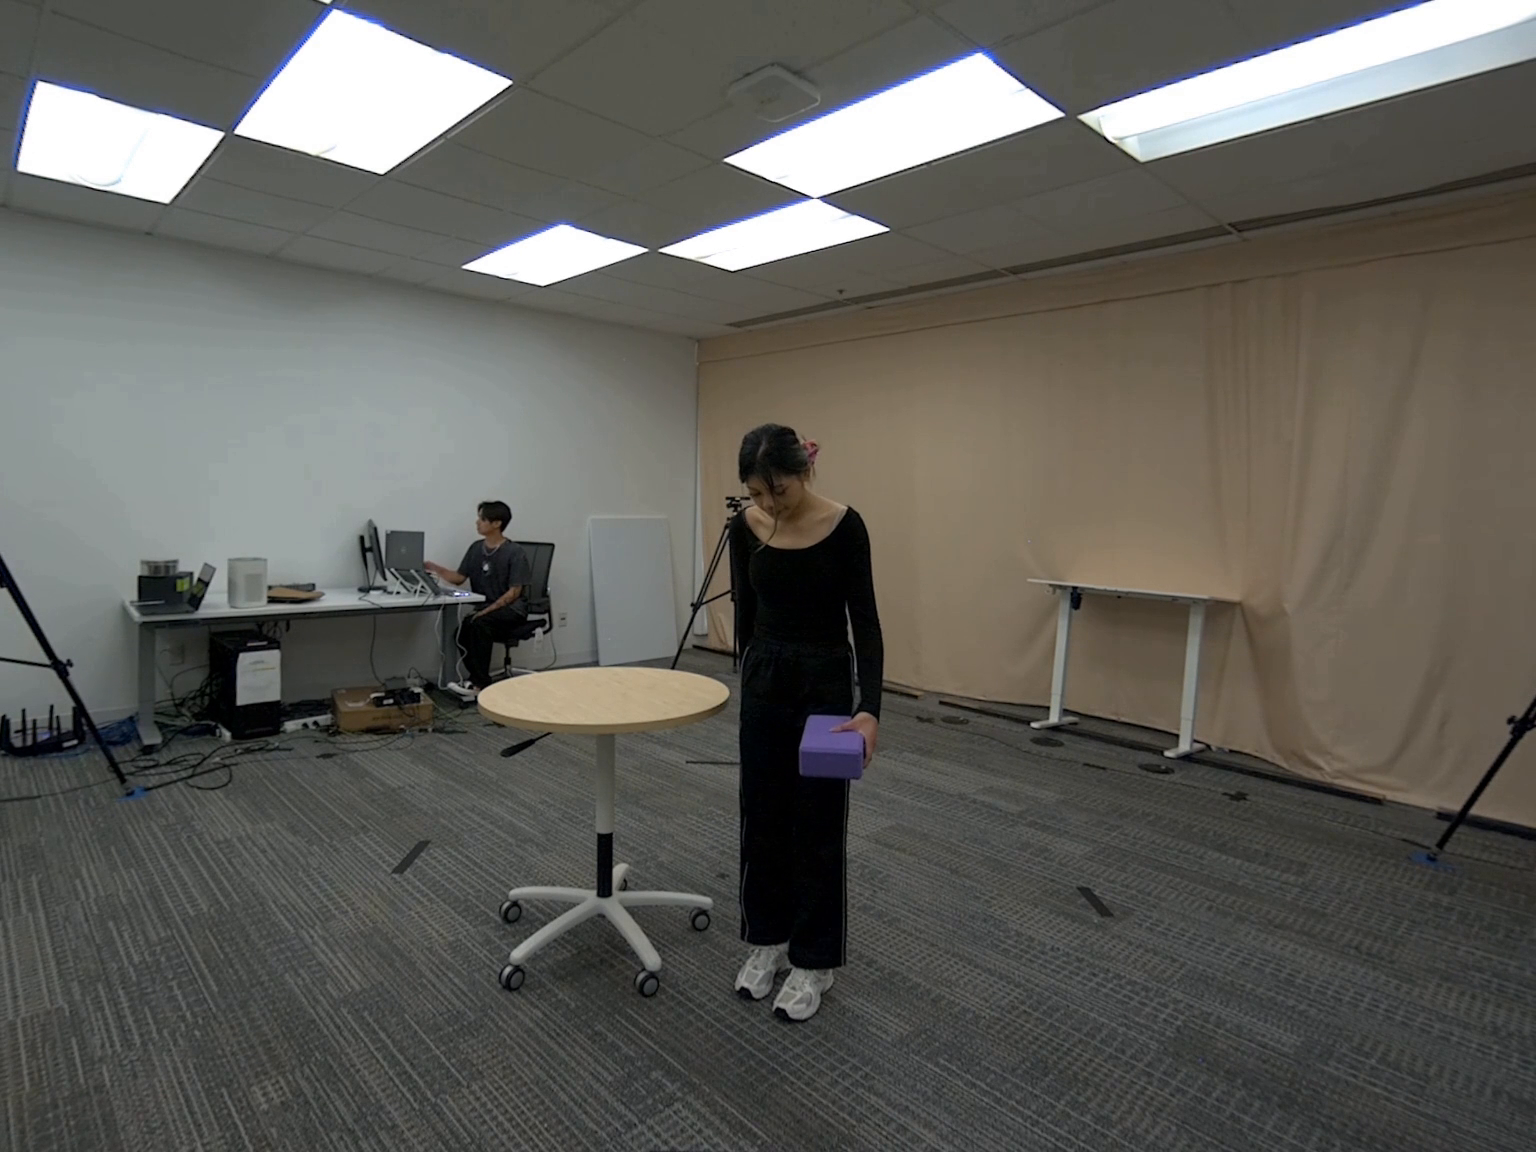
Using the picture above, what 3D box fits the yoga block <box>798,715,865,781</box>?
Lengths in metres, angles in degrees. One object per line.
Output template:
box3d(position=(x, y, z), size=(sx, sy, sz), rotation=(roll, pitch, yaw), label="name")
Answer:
box3d(position=(0.150, 0.428, 2.066), size=(0.150, 0.076, 0.228), rotation=(2, 11, 12), label="yoga block")
